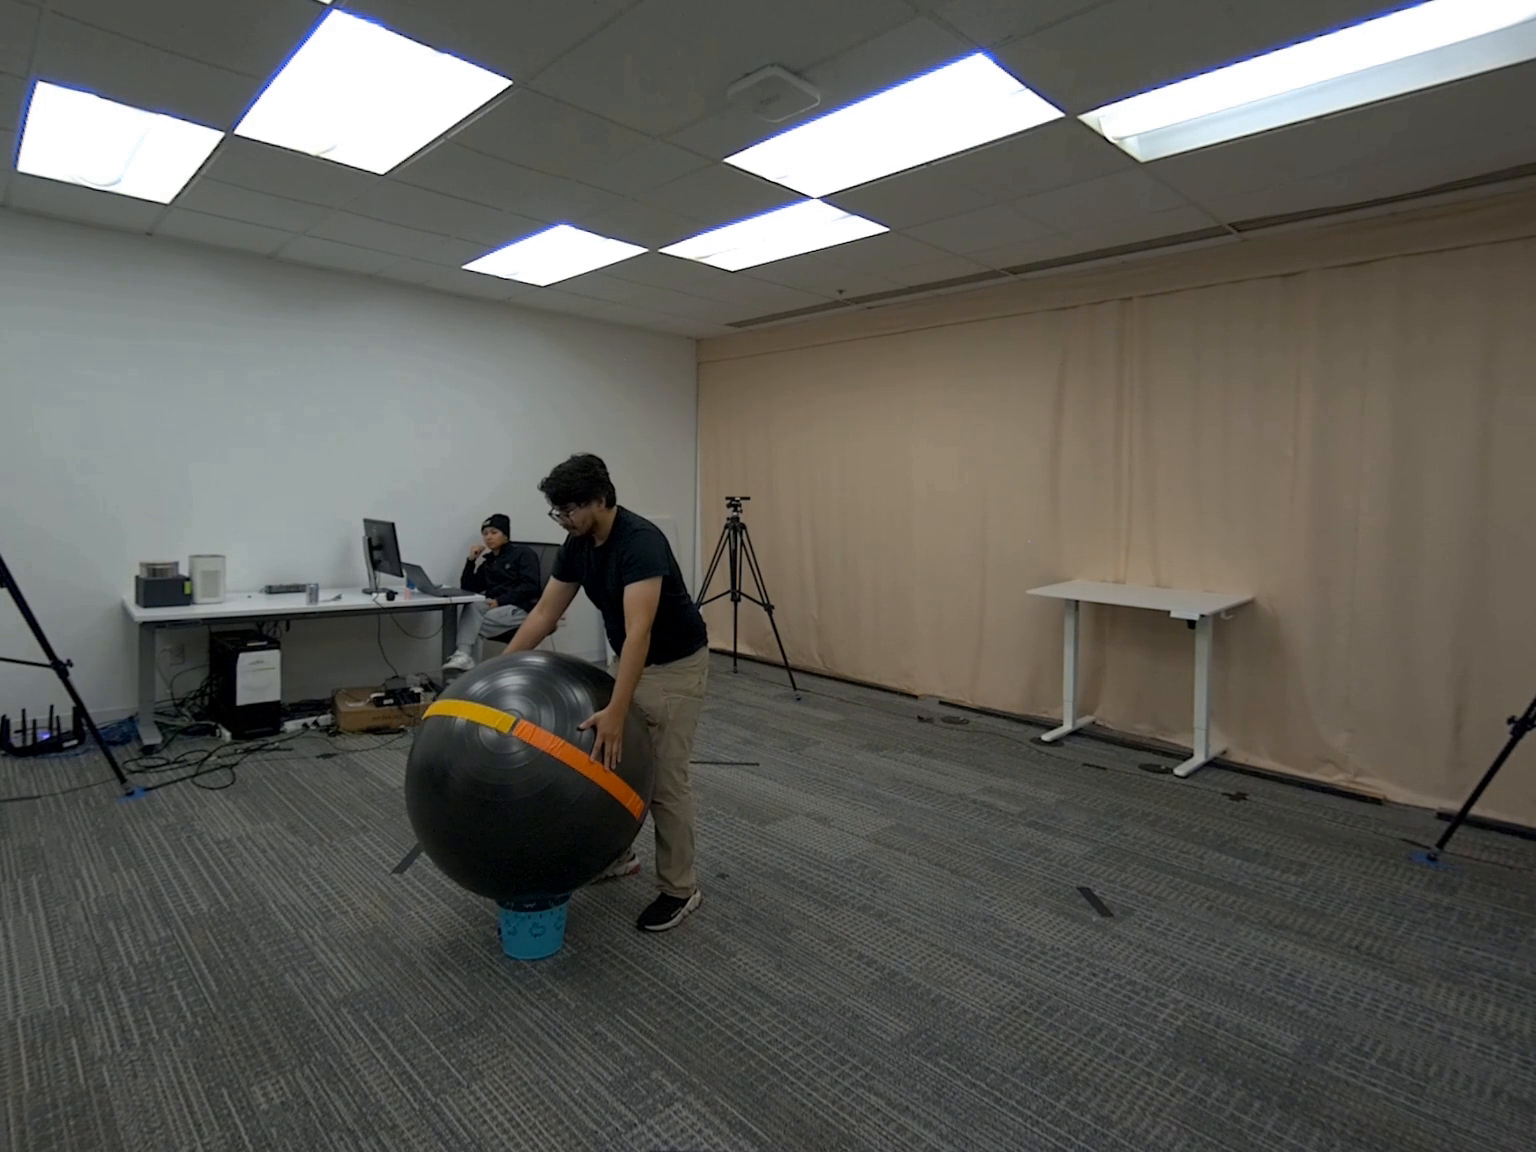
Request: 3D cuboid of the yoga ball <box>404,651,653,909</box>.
[{"bbox_3d":[-0.749,0.624,2.639,0.757,0.756,0.761,1,4,-1],"label":"yoga ball"}]
